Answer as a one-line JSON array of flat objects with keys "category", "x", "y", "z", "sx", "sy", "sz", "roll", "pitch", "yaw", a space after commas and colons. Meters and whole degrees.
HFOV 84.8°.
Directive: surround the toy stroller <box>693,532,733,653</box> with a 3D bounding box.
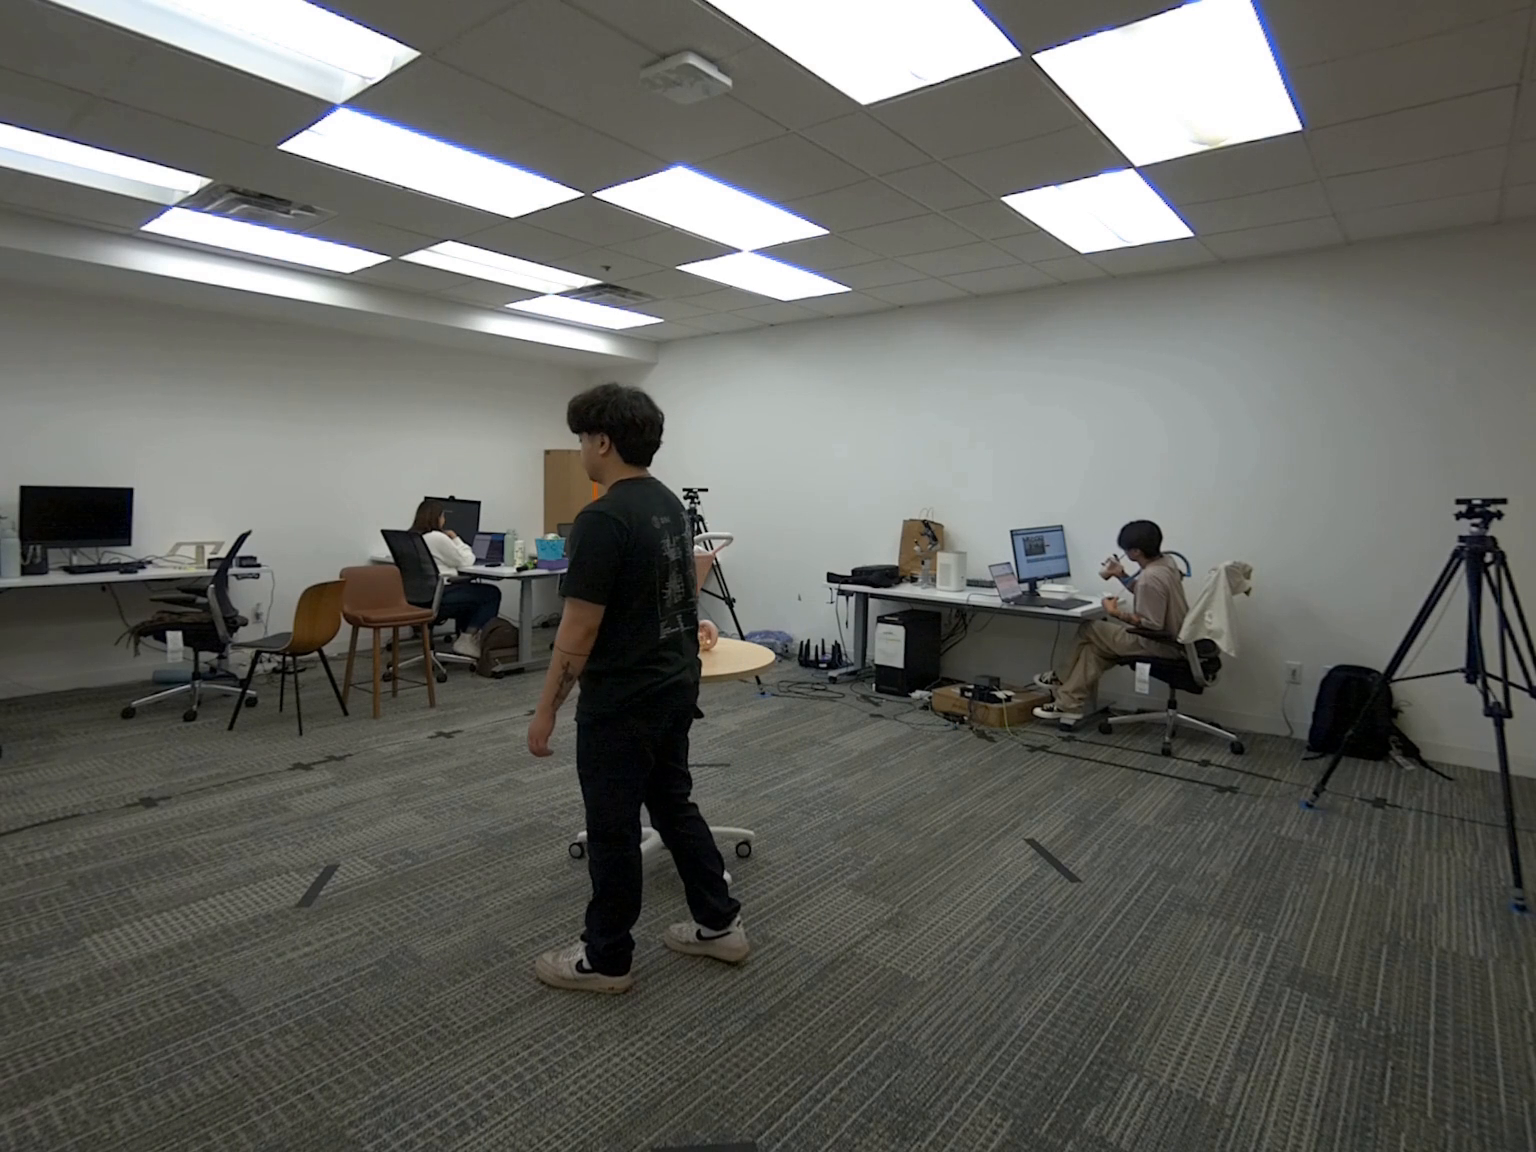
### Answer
[{"category": "toy stroller", "x": -0.356, "y": 0.049, "z": 3.084, "sx": 0.355, "sy": 0.530, "sz": 0.273, "roll": 23, "pitch": 16, "yaw": 37}]
